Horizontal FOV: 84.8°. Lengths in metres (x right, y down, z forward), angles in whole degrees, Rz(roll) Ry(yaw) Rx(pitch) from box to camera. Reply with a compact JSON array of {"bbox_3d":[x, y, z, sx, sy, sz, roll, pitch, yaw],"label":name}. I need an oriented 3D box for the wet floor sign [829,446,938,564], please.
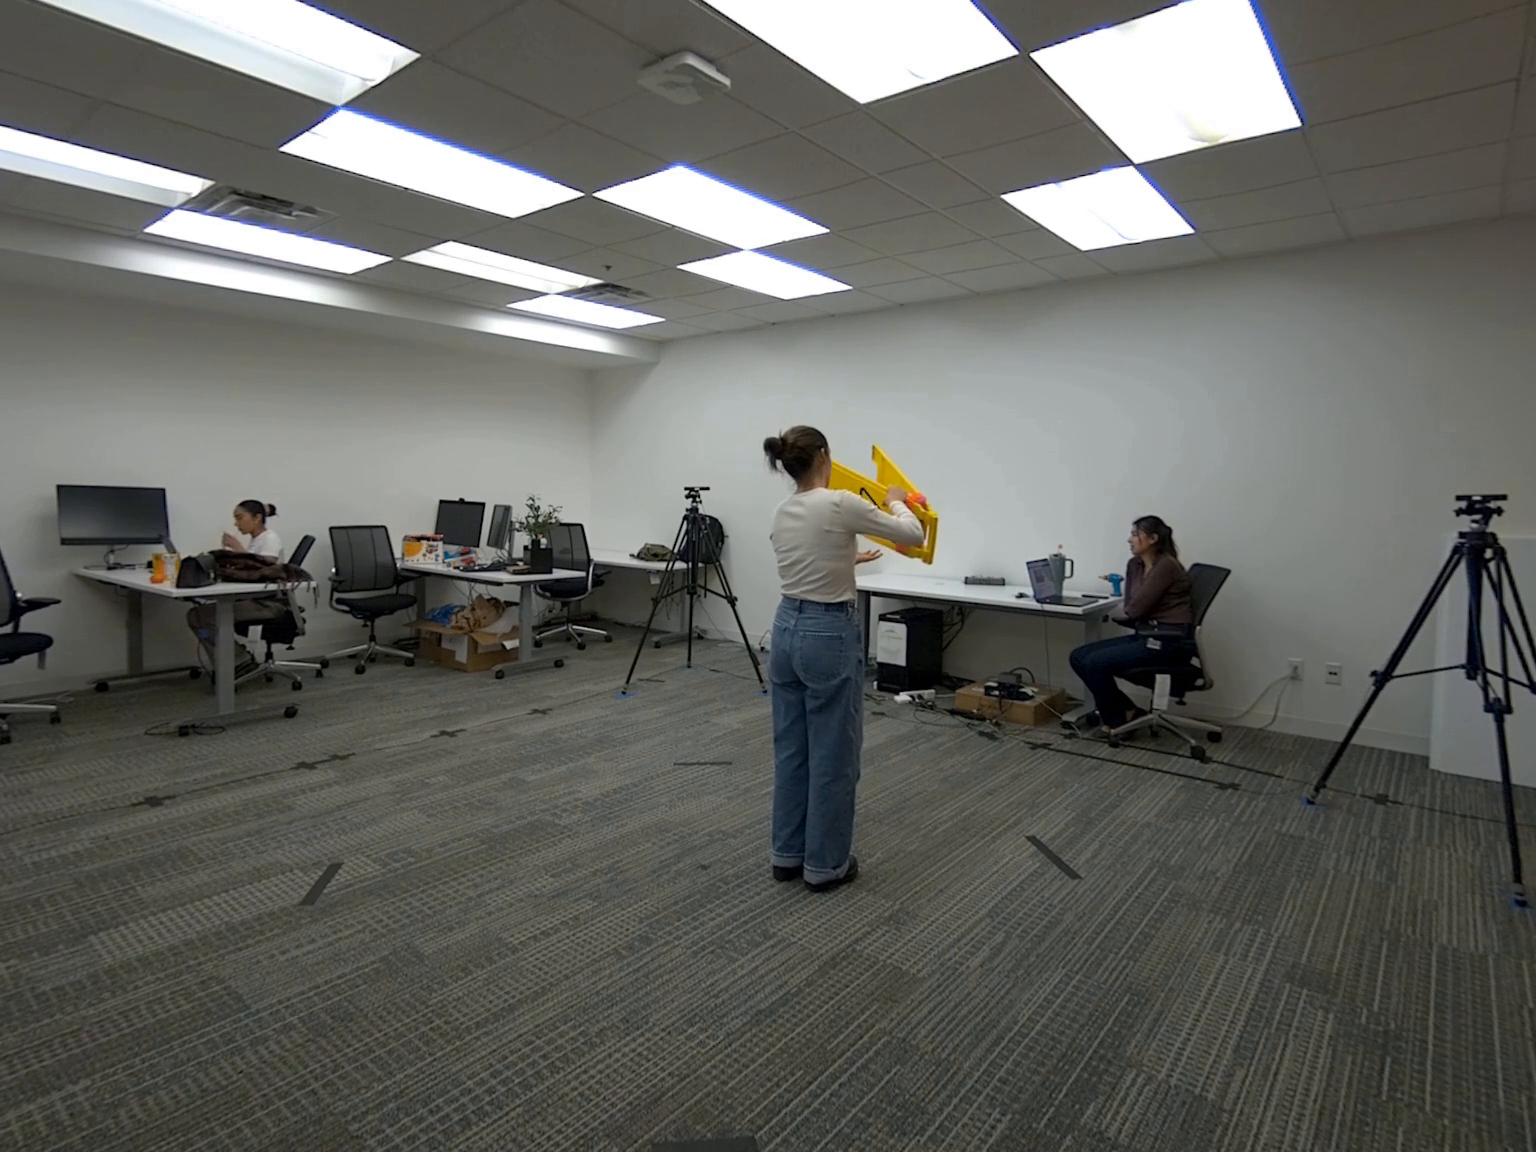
[{"bbox_3d":[0.454,-0.268,3.318,0.285,0.276,0.673,-12,31,-22],"label":"wet floor sign"}]
